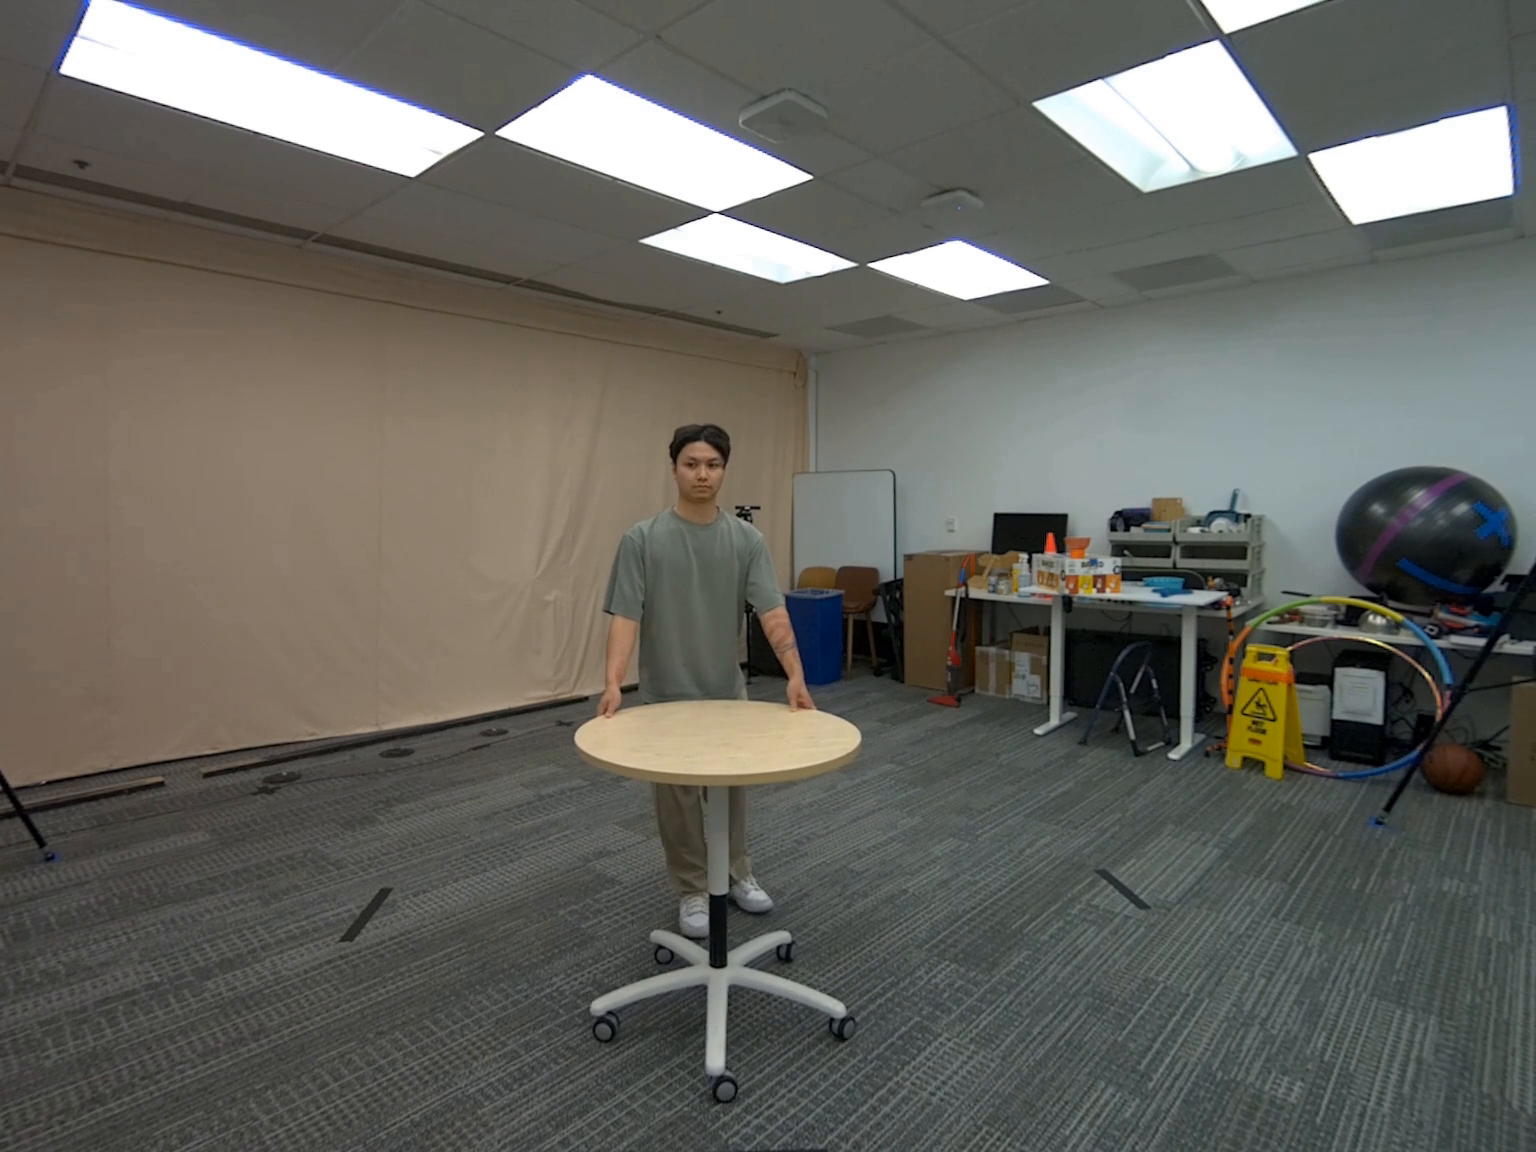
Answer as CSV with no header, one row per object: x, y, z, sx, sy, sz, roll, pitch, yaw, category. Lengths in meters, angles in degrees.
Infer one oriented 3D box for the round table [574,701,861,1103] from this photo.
-0.128,0.810,2.280,0.784,0.785,0.787,0,3,-2,round table
